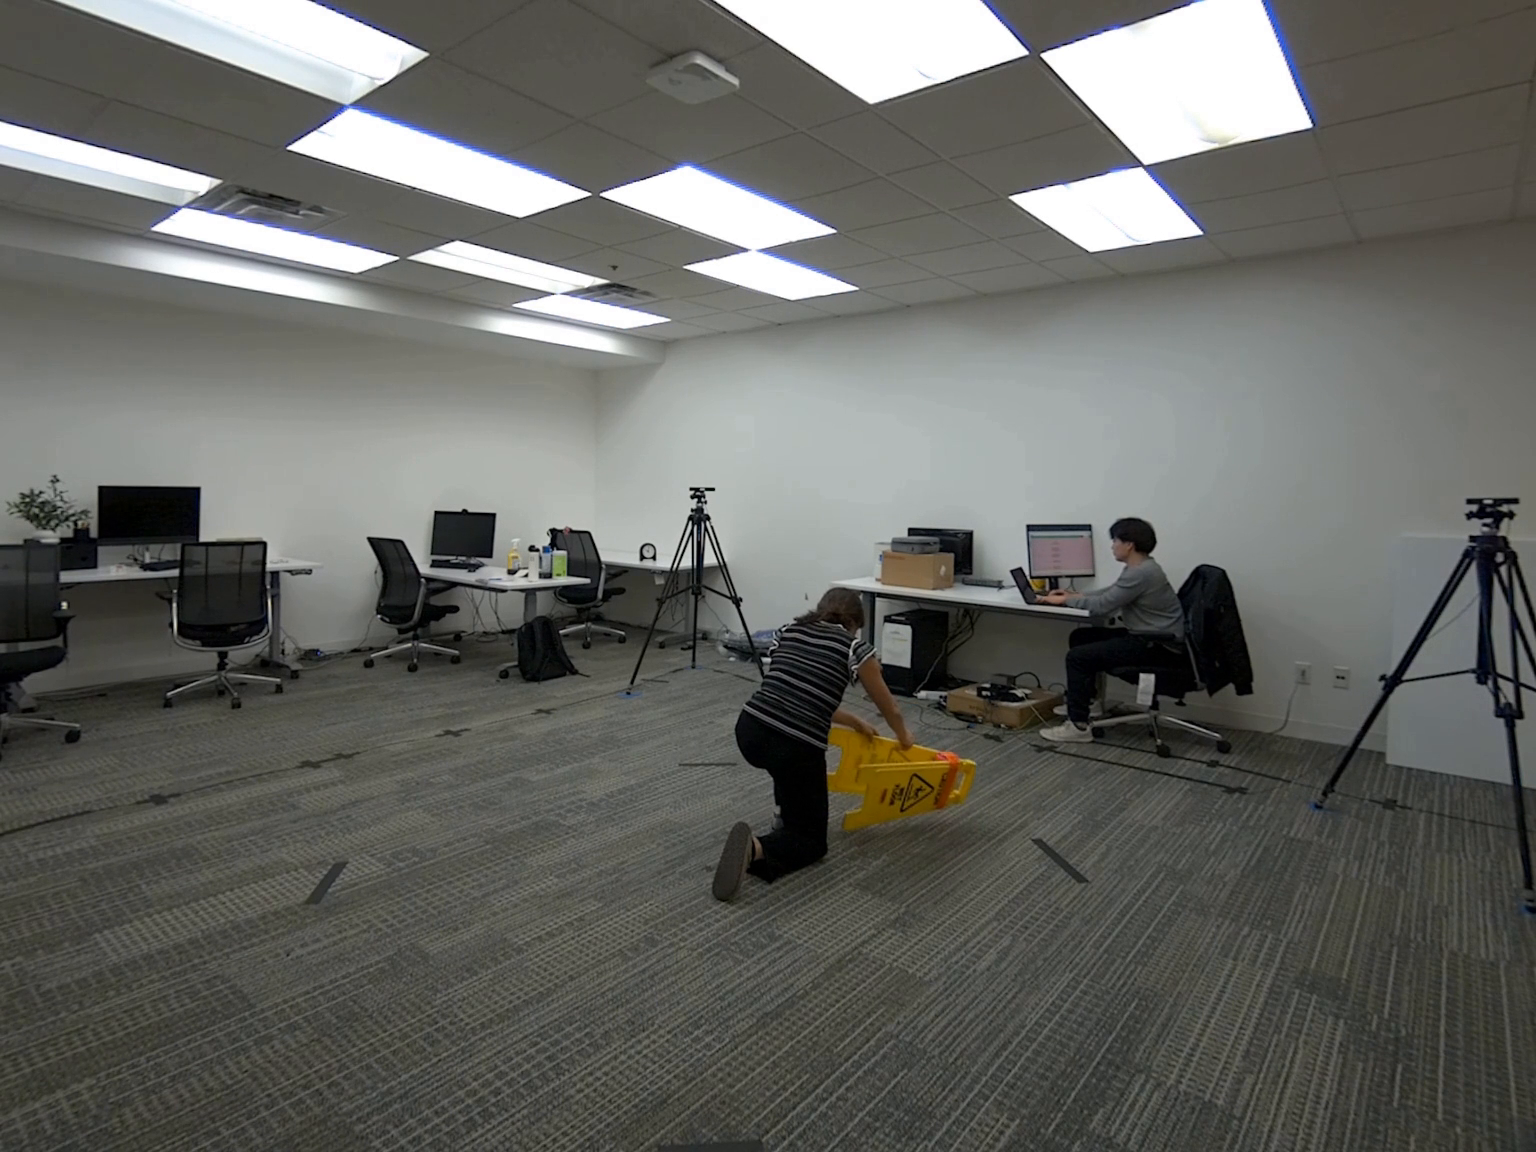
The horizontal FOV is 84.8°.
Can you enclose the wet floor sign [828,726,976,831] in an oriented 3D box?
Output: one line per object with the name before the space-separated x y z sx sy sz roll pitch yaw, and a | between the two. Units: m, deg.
wet floor sign | 0.558 0.840 3.492 0.631 0.279 0.300 8 17 -21
